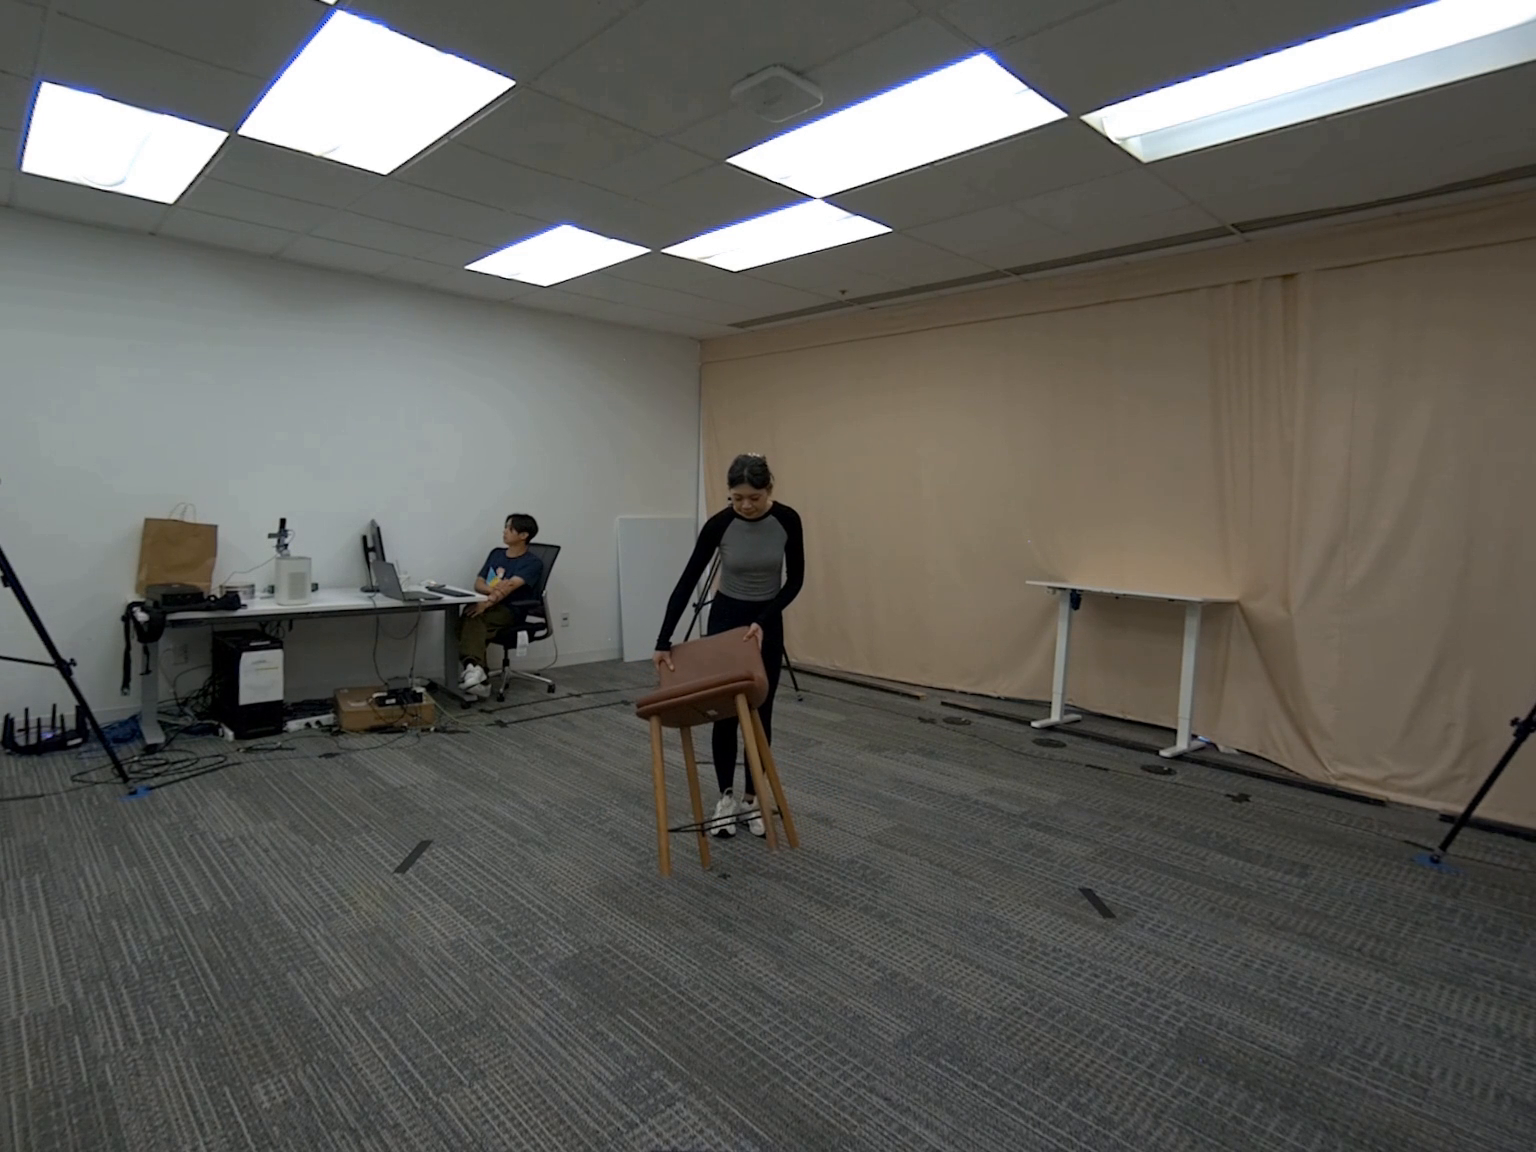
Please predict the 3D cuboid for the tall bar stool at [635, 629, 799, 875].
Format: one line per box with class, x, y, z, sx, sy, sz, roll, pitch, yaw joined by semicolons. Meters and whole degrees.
tall bar stool;-0.209;0.599;3.082;0.459;0.907;0.456;-17;-22;10
